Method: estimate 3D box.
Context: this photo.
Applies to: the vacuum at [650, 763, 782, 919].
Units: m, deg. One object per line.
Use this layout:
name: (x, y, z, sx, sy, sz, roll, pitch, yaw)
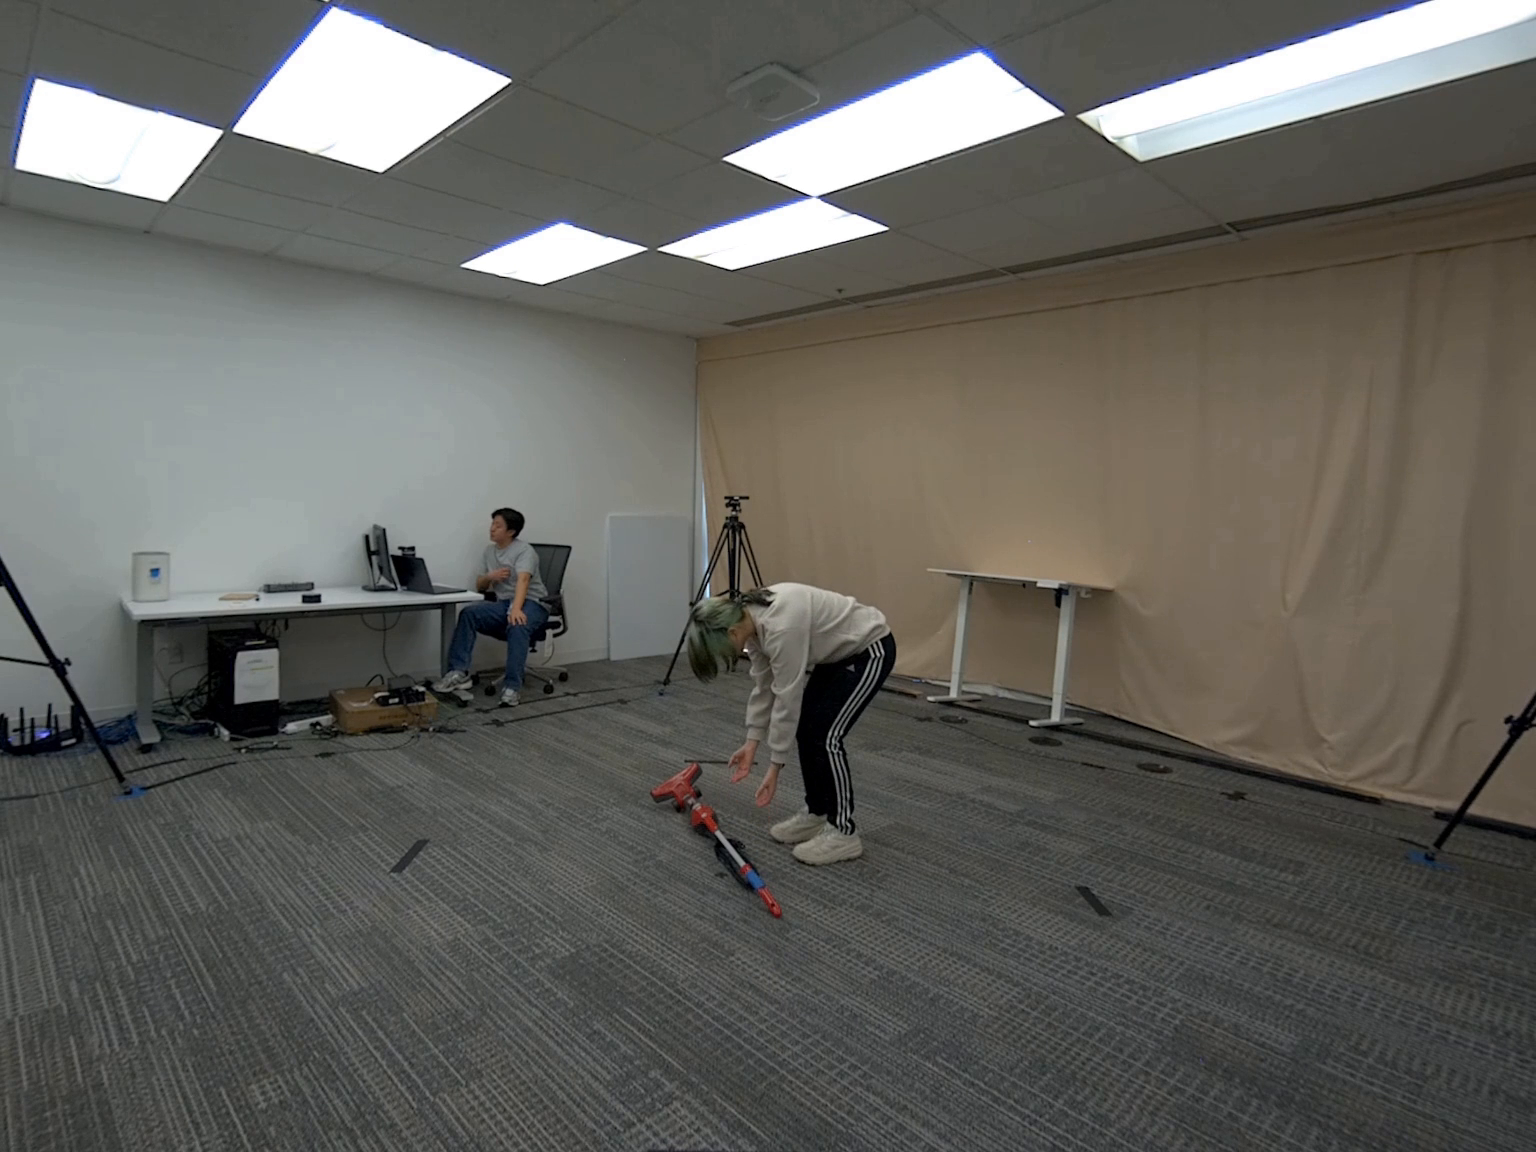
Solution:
vacuum: (-0.183, 1.030, 3.288, 0.251, 0.141, 1.073, -33, 21, -15)
